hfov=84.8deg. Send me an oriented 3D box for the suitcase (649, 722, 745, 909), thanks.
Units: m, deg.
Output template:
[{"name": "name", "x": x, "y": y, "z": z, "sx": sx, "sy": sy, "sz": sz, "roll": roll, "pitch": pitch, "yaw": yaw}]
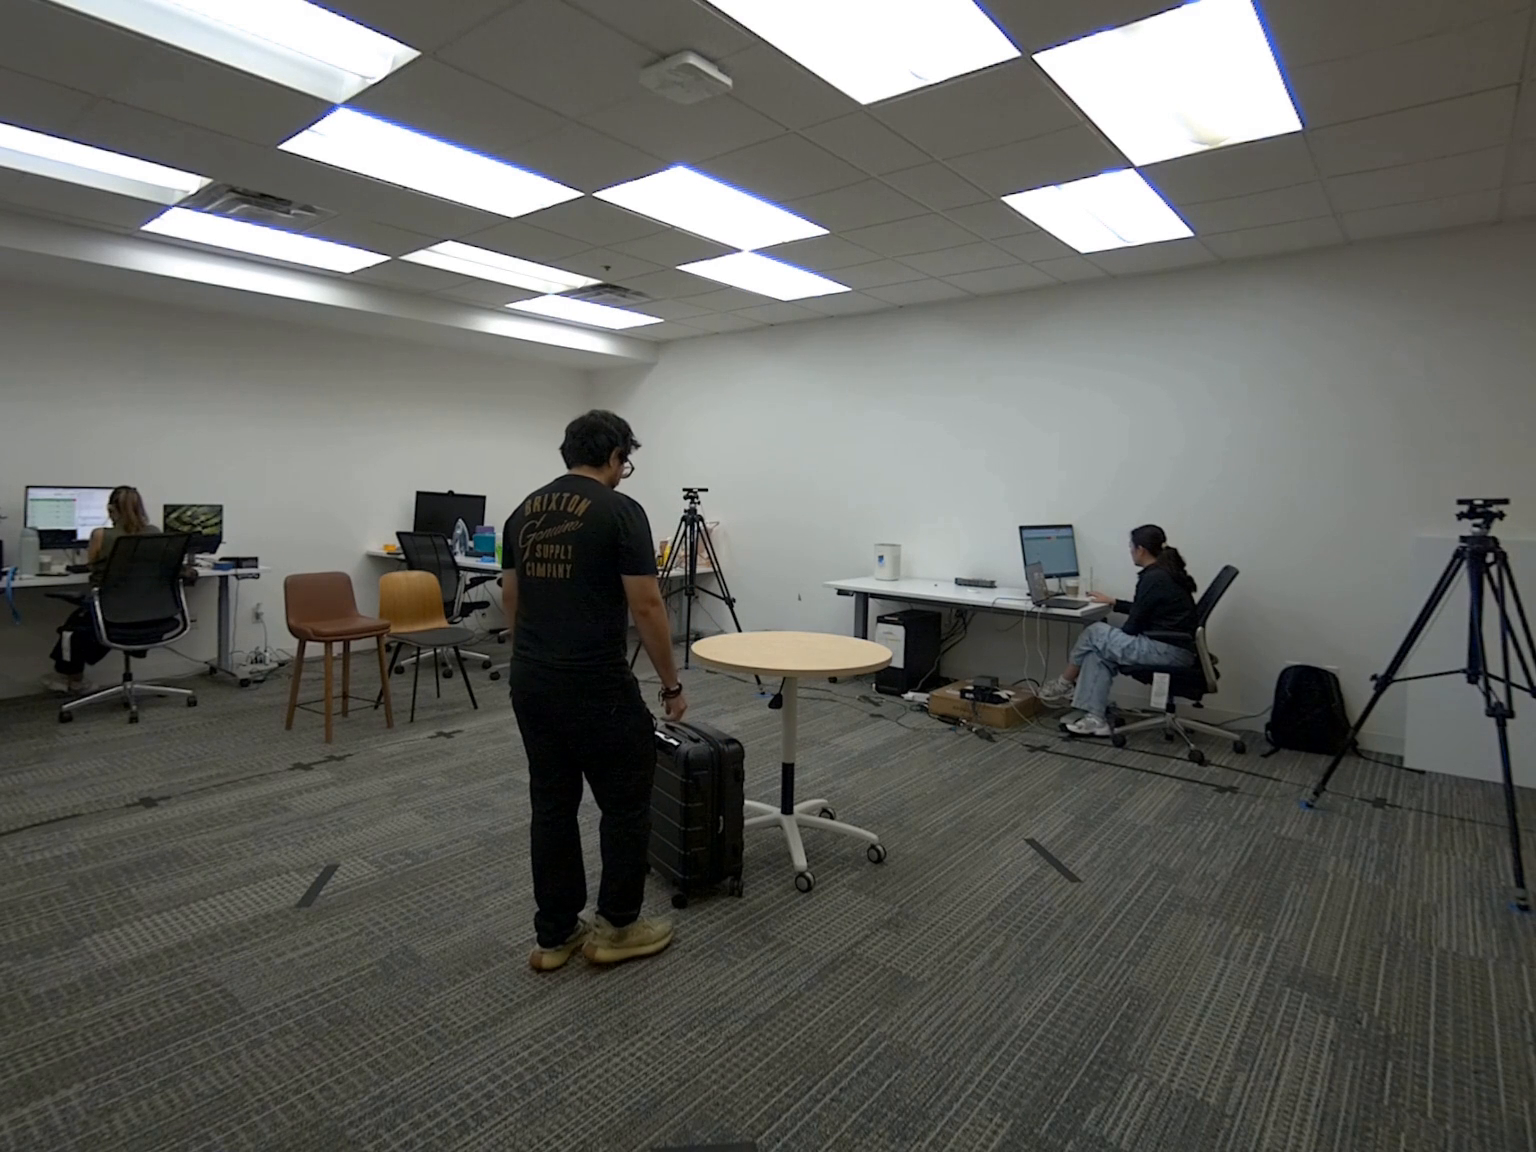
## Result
[{"name": "suitcase", "x": -0.272, "y": 0.799, "z": 2.989, "sx": 0.241, "sy": 0.547, "sz": 0.387, "roll": -1, "pitch": 5, "yaw": -33}]
